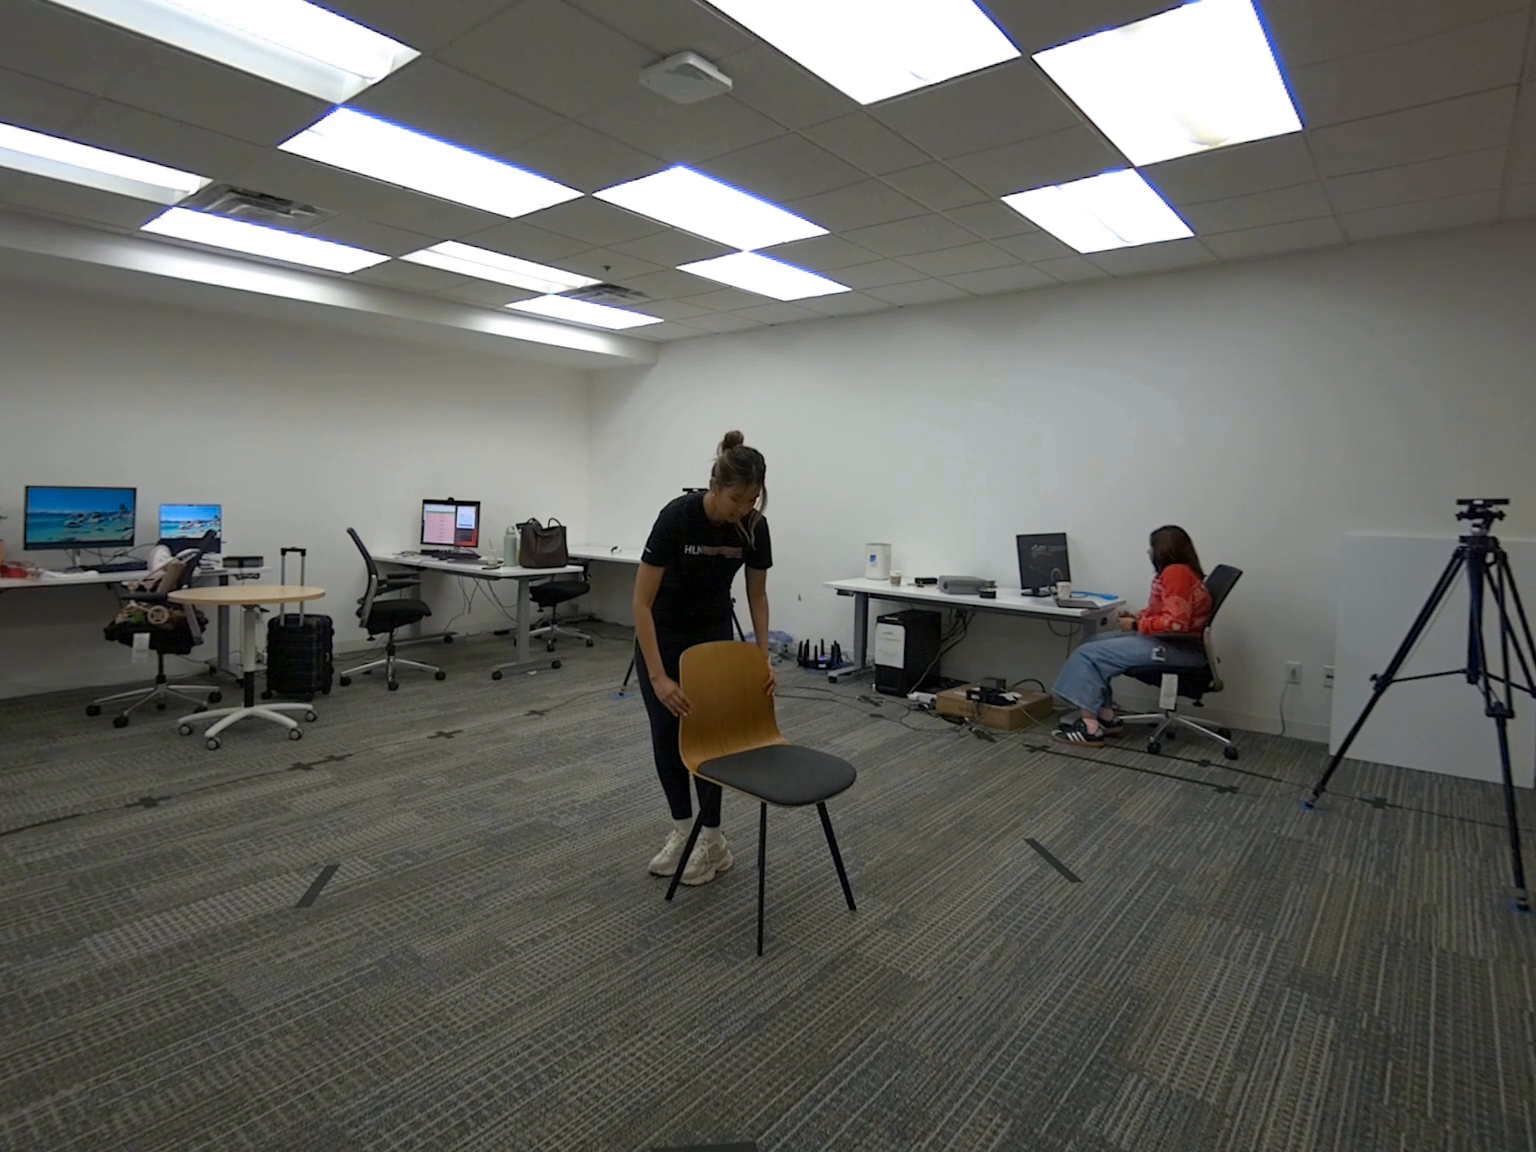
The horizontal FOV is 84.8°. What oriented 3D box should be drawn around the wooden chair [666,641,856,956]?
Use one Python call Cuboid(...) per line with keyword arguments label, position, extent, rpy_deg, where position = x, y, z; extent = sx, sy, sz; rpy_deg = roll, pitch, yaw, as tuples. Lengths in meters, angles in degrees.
Cuboid(label="wooden chair", position=(-0.009, 0.673, 2.810), extent=(0.463, 0.877, 0.539), rpy_deg=(-2, 0, -43))
